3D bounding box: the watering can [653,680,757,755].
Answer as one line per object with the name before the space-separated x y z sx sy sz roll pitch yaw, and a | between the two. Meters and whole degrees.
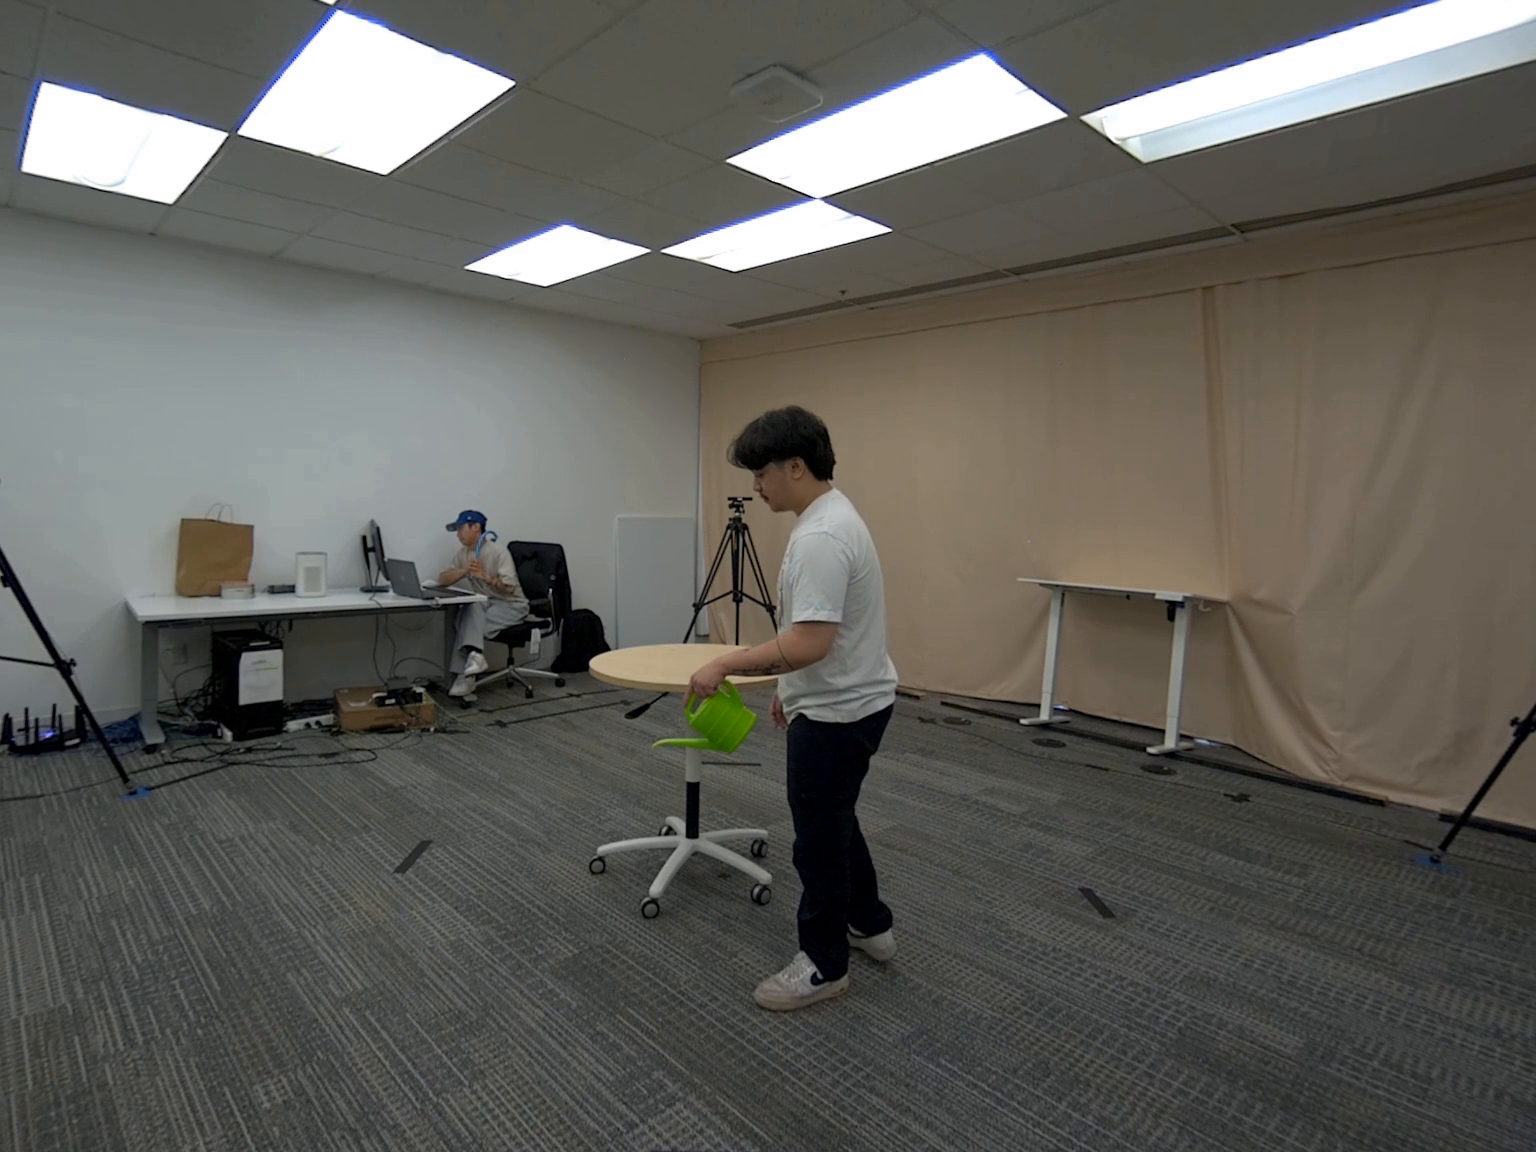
watering can | -0.156 0.406 2.220 0.177 0.278 0.098 38 19 1
